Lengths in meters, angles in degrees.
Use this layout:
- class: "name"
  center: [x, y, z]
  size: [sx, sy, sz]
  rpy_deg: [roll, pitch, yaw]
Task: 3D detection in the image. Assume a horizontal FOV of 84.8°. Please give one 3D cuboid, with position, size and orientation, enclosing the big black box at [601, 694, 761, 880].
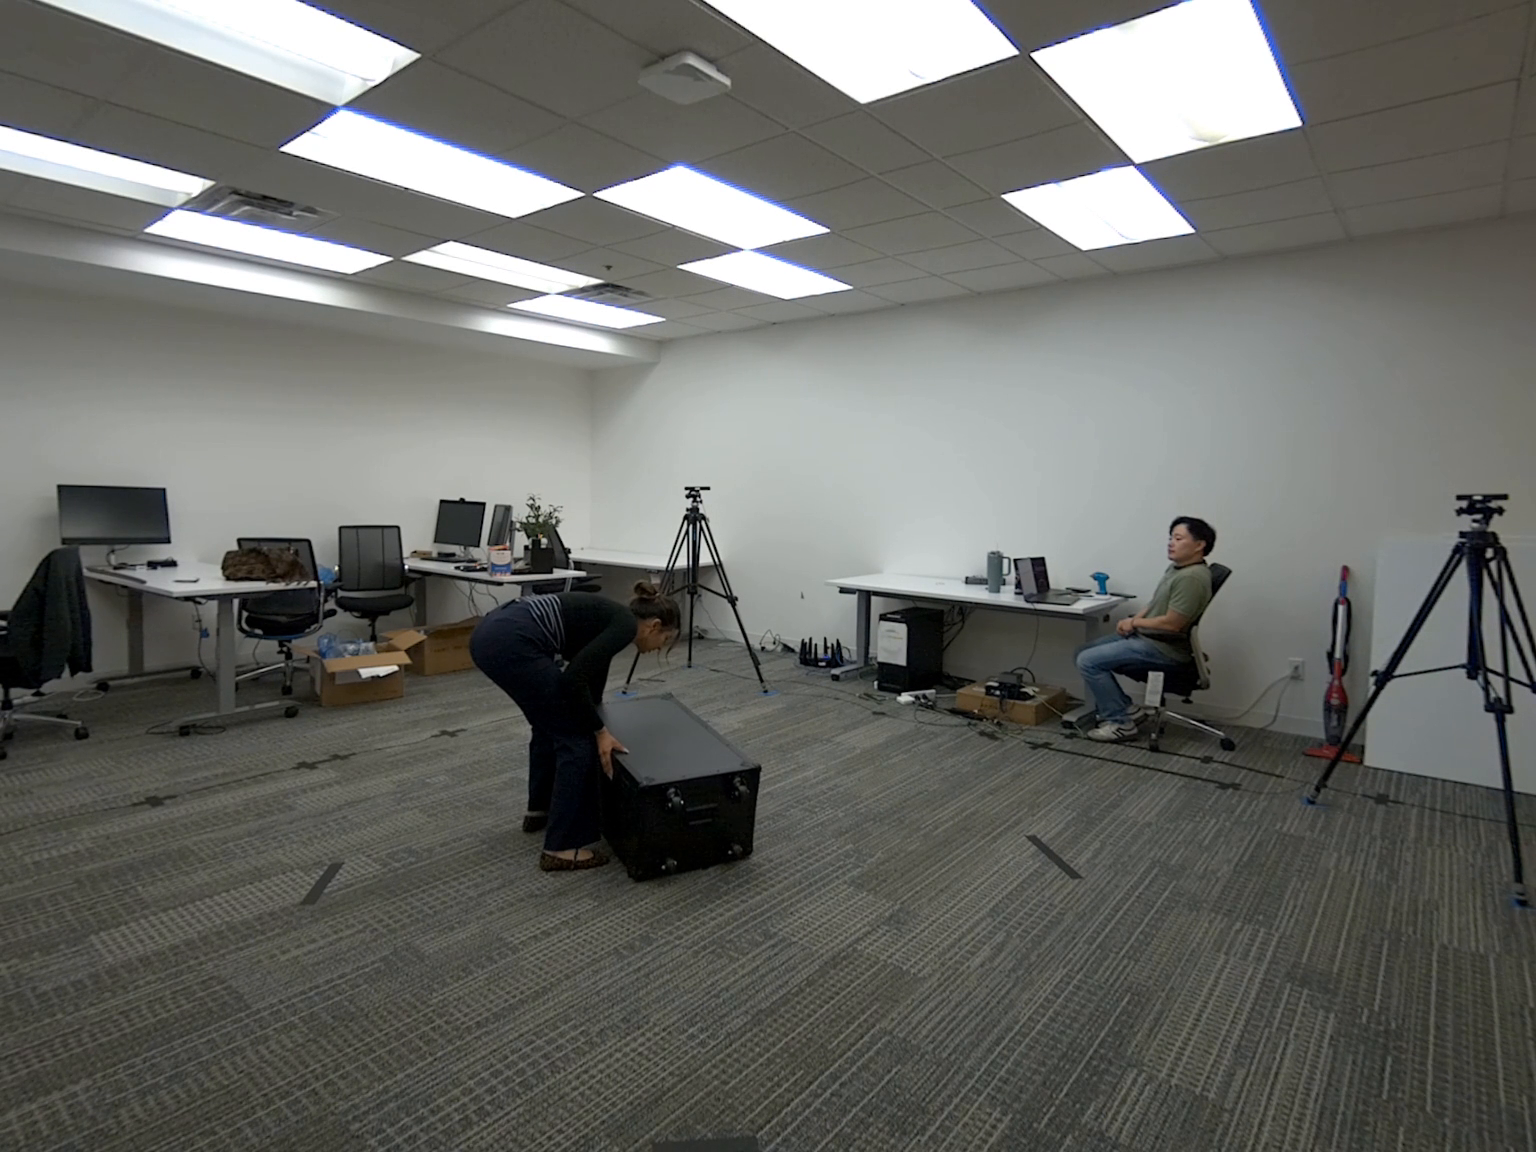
- class: "big black box"
  center: [-0.461, 0.800, 3.405]
  size: [0.508, 0.393, 0.892]
  rpy_deg: [-1, 13, -30]
